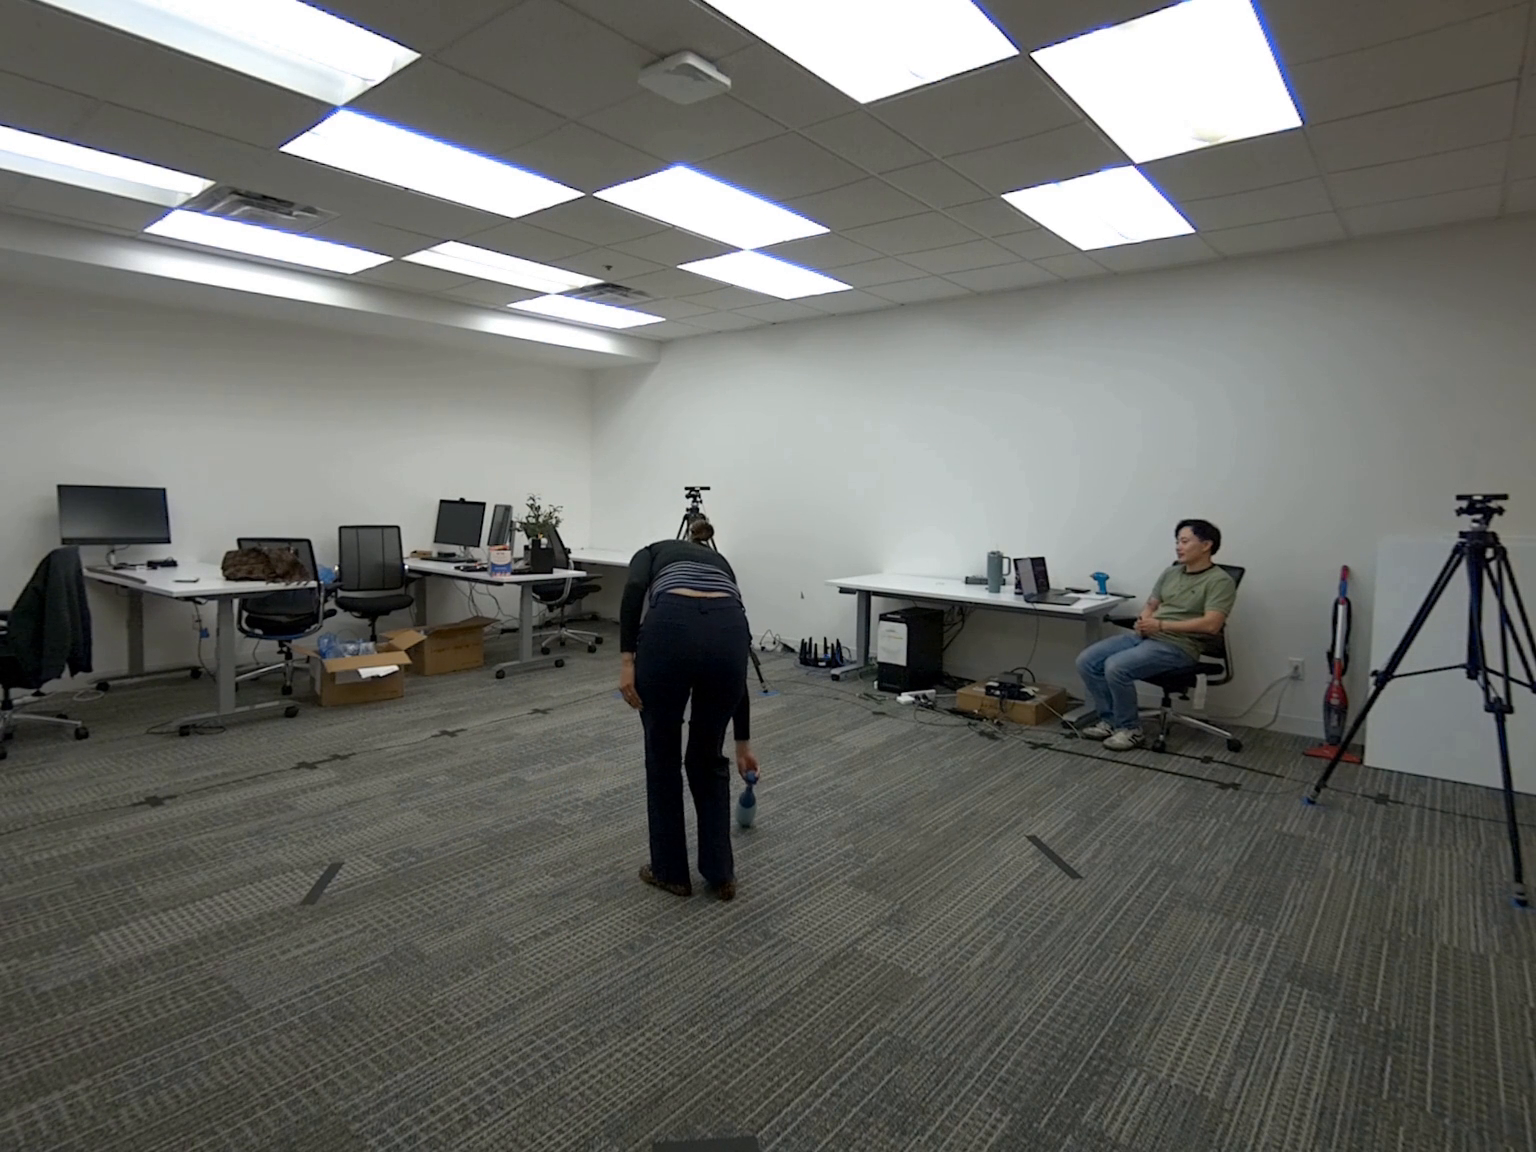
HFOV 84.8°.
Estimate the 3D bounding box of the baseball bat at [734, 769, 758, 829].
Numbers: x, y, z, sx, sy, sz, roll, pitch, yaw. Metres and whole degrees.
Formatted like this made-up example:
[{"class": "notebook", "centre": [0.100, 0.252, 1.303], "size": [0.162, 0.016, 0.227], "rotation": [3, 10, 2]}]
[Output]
[{"class": "baseball bat", "centre": [-0.094, 0.862, 3.316], "size": [0.089, 0.091, 0.529], "rotation": [1, -32, -3]}]
